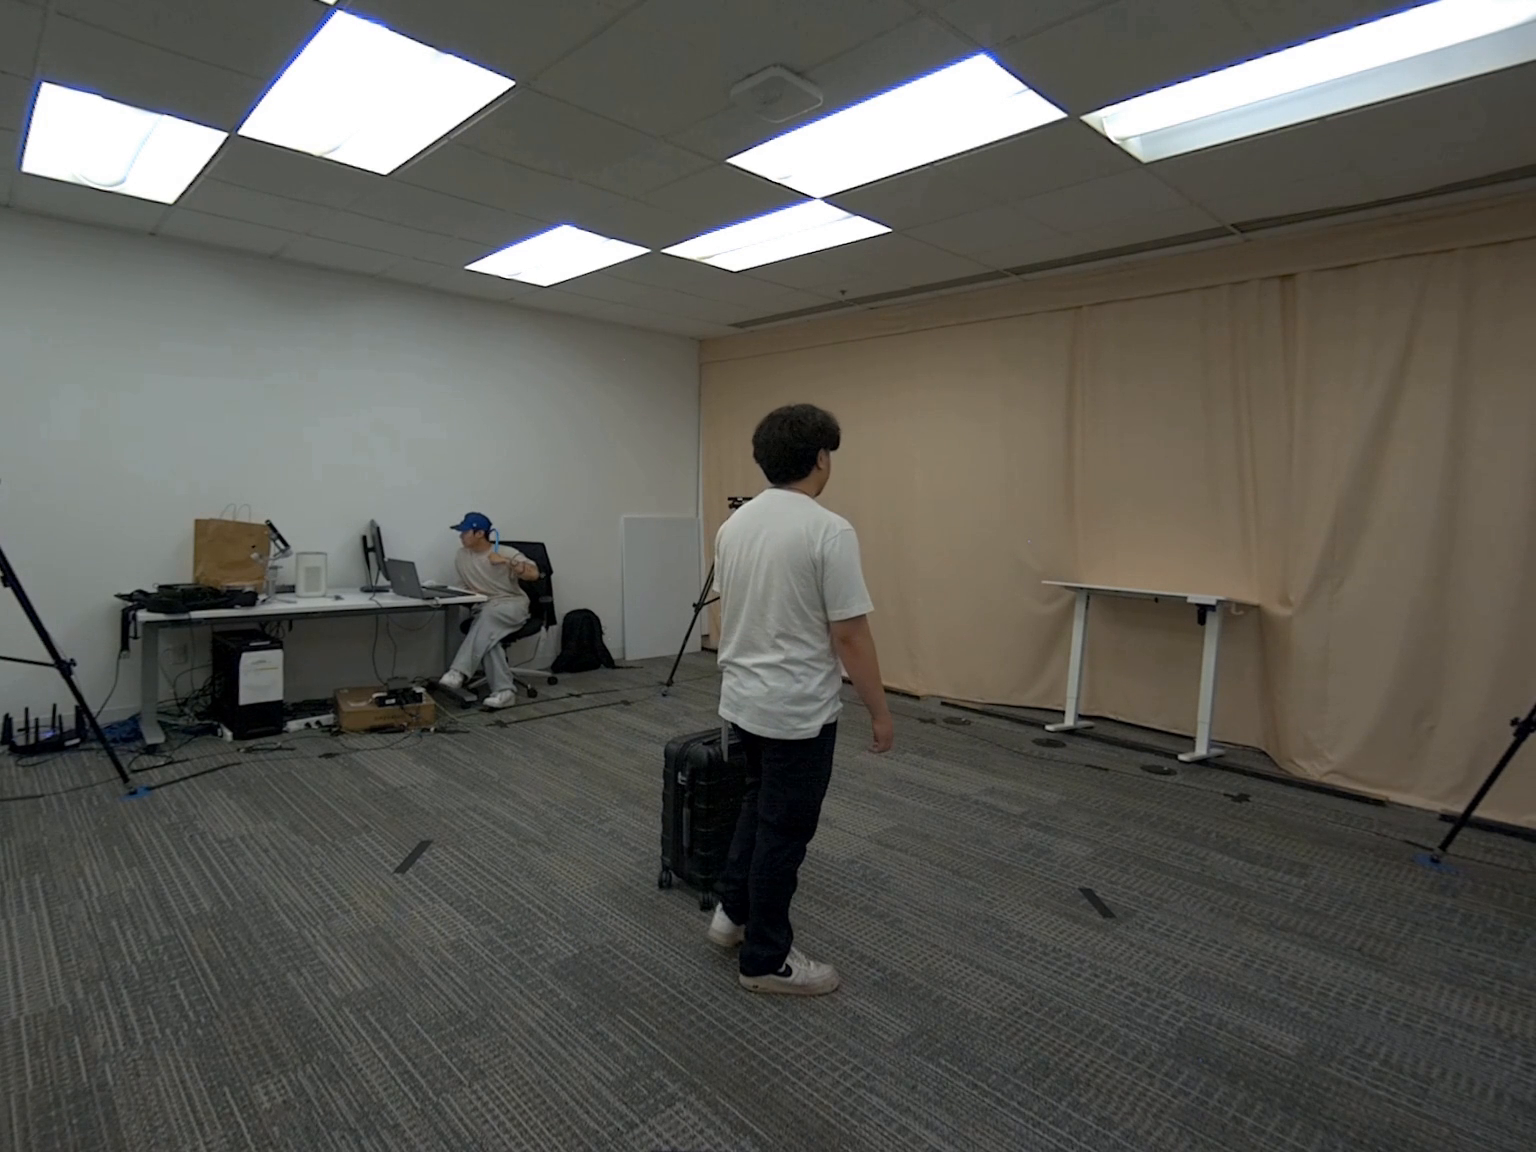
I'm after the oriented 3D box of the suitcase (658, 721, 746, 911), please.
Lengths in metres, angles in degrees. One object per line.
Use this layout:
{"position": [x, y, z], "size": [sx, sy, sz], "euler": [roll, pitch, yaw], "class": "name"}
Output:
{"position": [-0.198, 0.636, 3.038], "size": [0.375, 0.979, 0.263], "euler": [-1, 0, -44], "class": "suitcase"}
